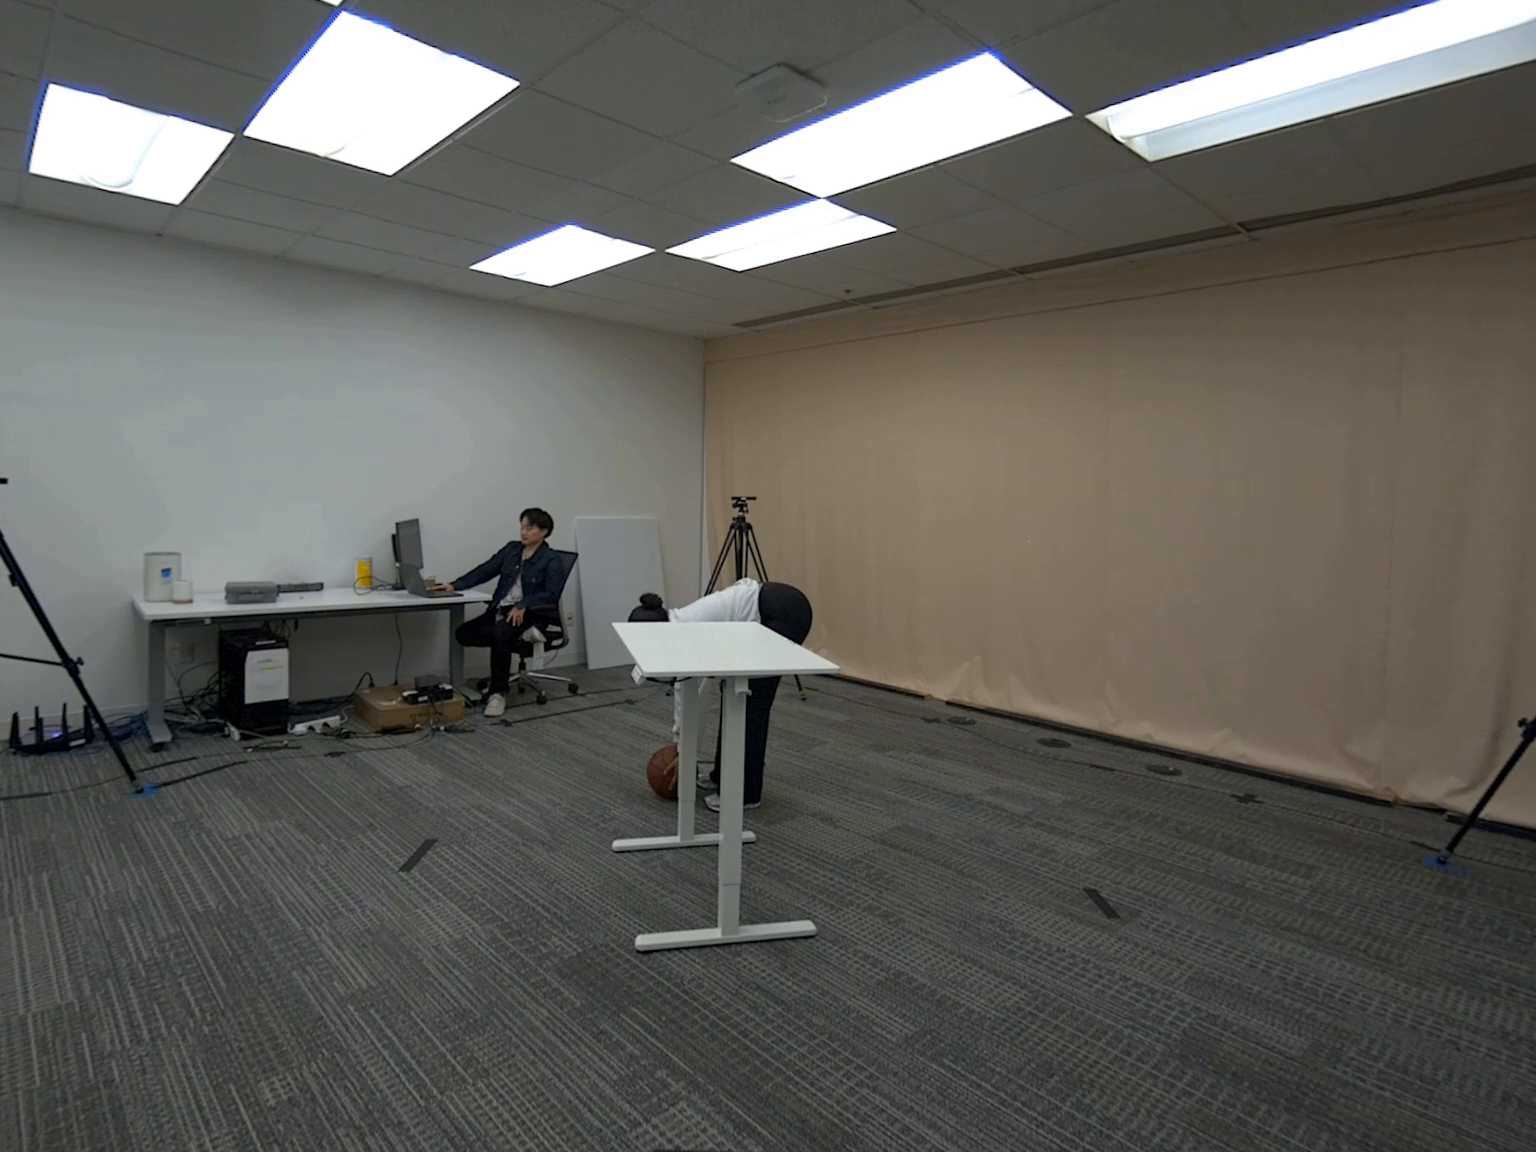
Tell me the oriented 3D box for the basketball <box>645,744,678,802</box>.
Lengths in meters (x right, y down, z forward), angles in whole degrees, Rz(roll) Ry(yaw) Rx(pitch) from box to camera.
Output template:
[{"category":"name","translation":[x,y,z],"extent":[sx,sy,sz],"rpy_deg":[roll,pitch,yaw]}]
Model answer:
[{"category":"basketball","translation":[-0.447,0.894,3.909],"extent":[0.236,0.235,0.237],"rpy_deg":[1,4,-1]}]
